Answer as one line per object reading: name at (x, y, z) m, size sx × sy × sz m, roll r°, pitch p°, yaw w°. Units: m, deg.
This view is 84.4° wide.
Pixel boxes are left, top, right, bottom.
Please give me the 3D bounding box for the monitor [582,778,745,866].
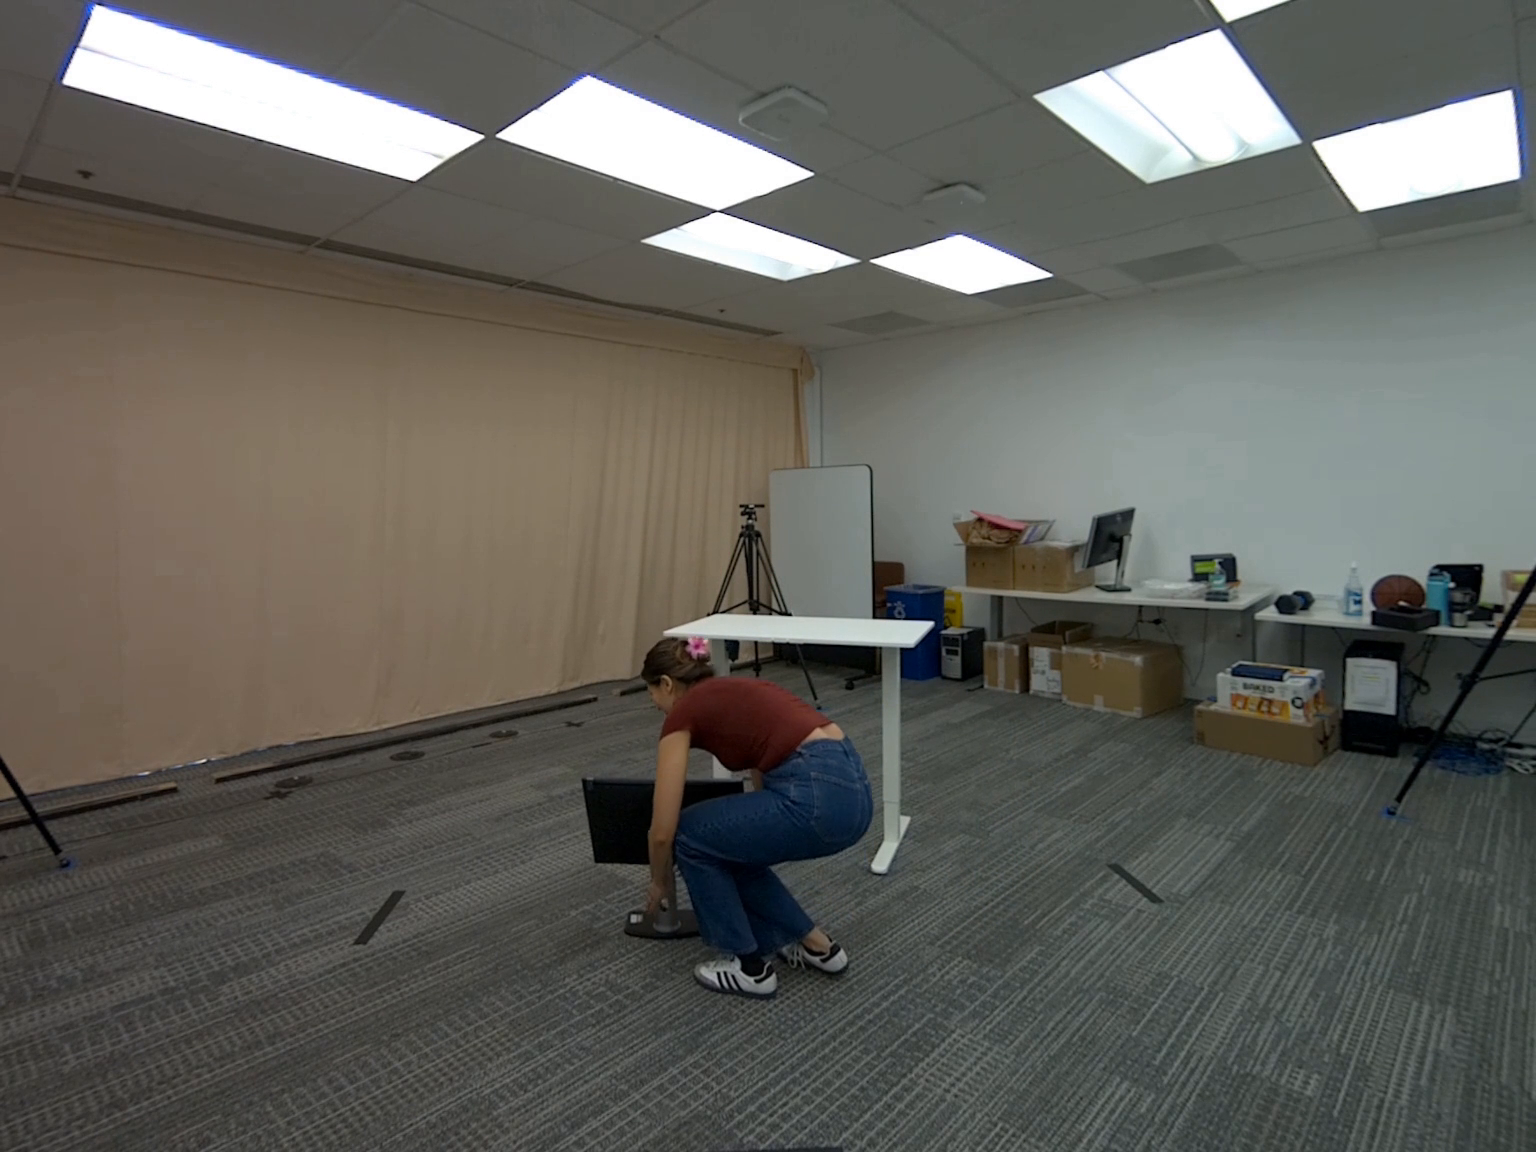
monitor at (-0.336, 0.915, 2.771) m, size 0.542 × 0.520 × 0.187 m, roll 0°, pitch 6°, yaw 5°
